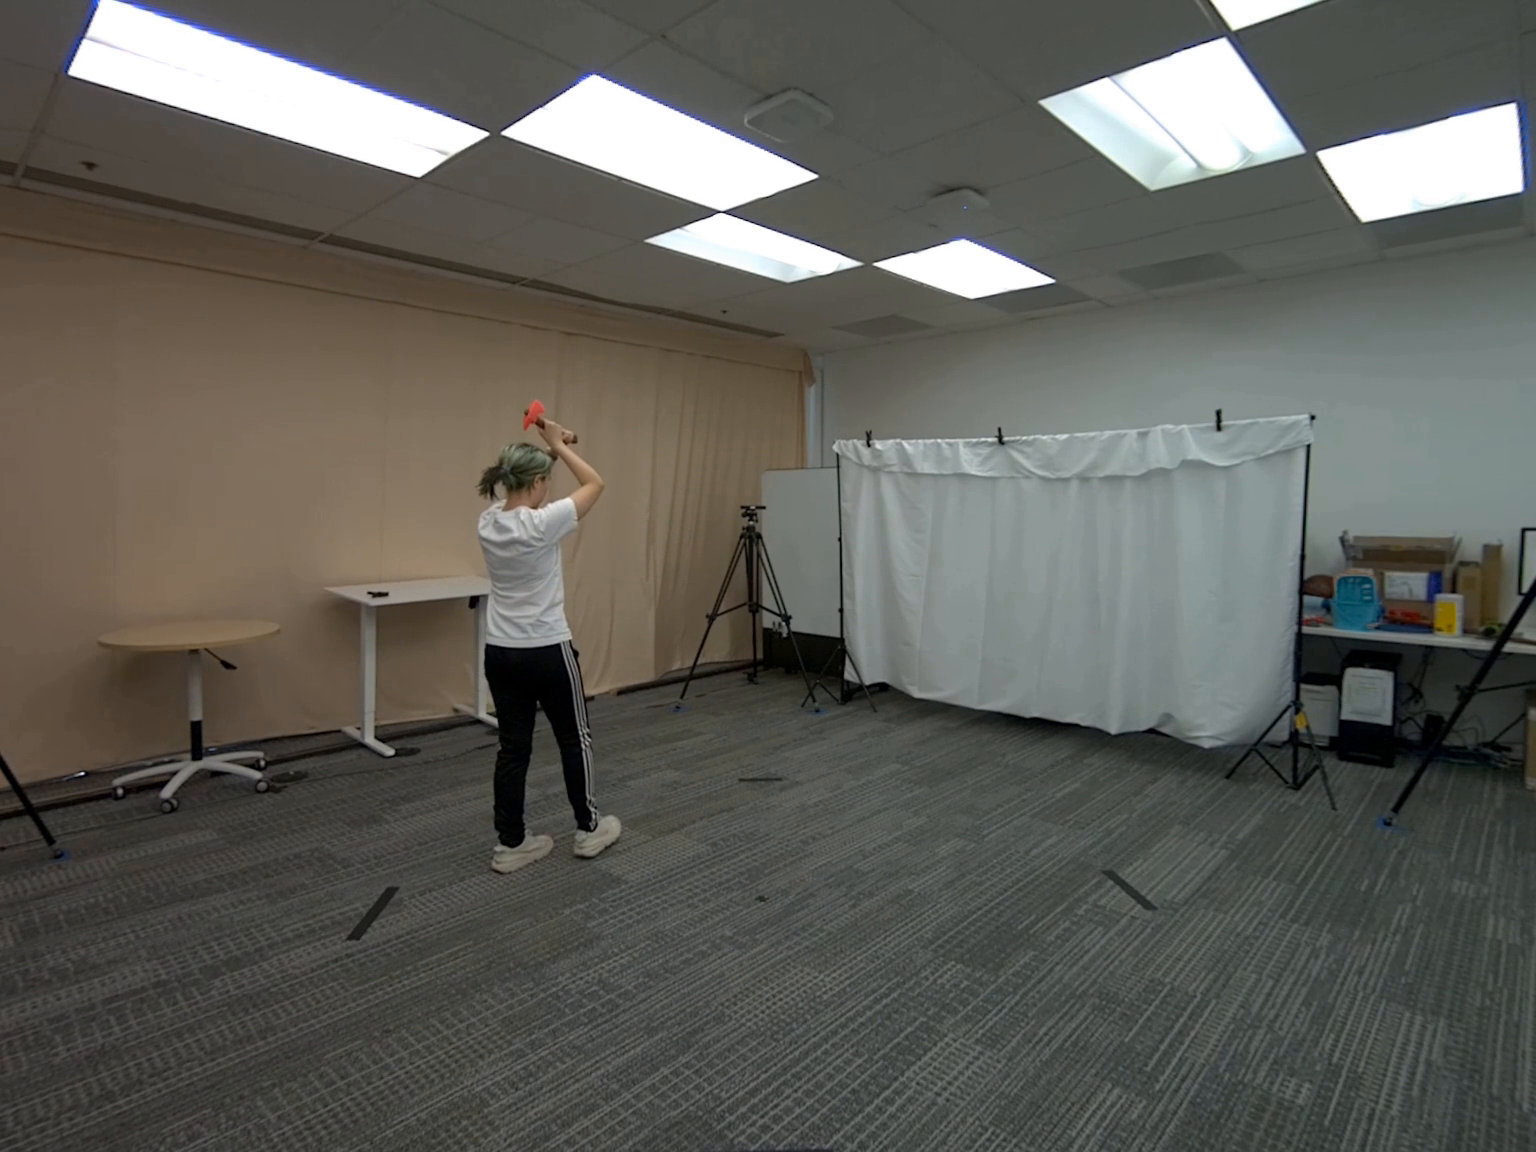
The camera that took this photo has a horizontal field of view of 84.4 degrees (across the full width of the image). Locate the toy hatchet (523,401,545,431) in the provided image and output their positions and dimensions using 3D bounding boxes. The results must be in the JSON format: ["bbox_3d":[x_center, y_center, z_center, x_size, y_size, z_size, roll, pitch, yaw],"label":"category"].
[{"bbox_3d":[-0.861,-0.616,3.349,0.030,0.131,0.261,-2,-6,34],"label":"toy hatchet"}]
